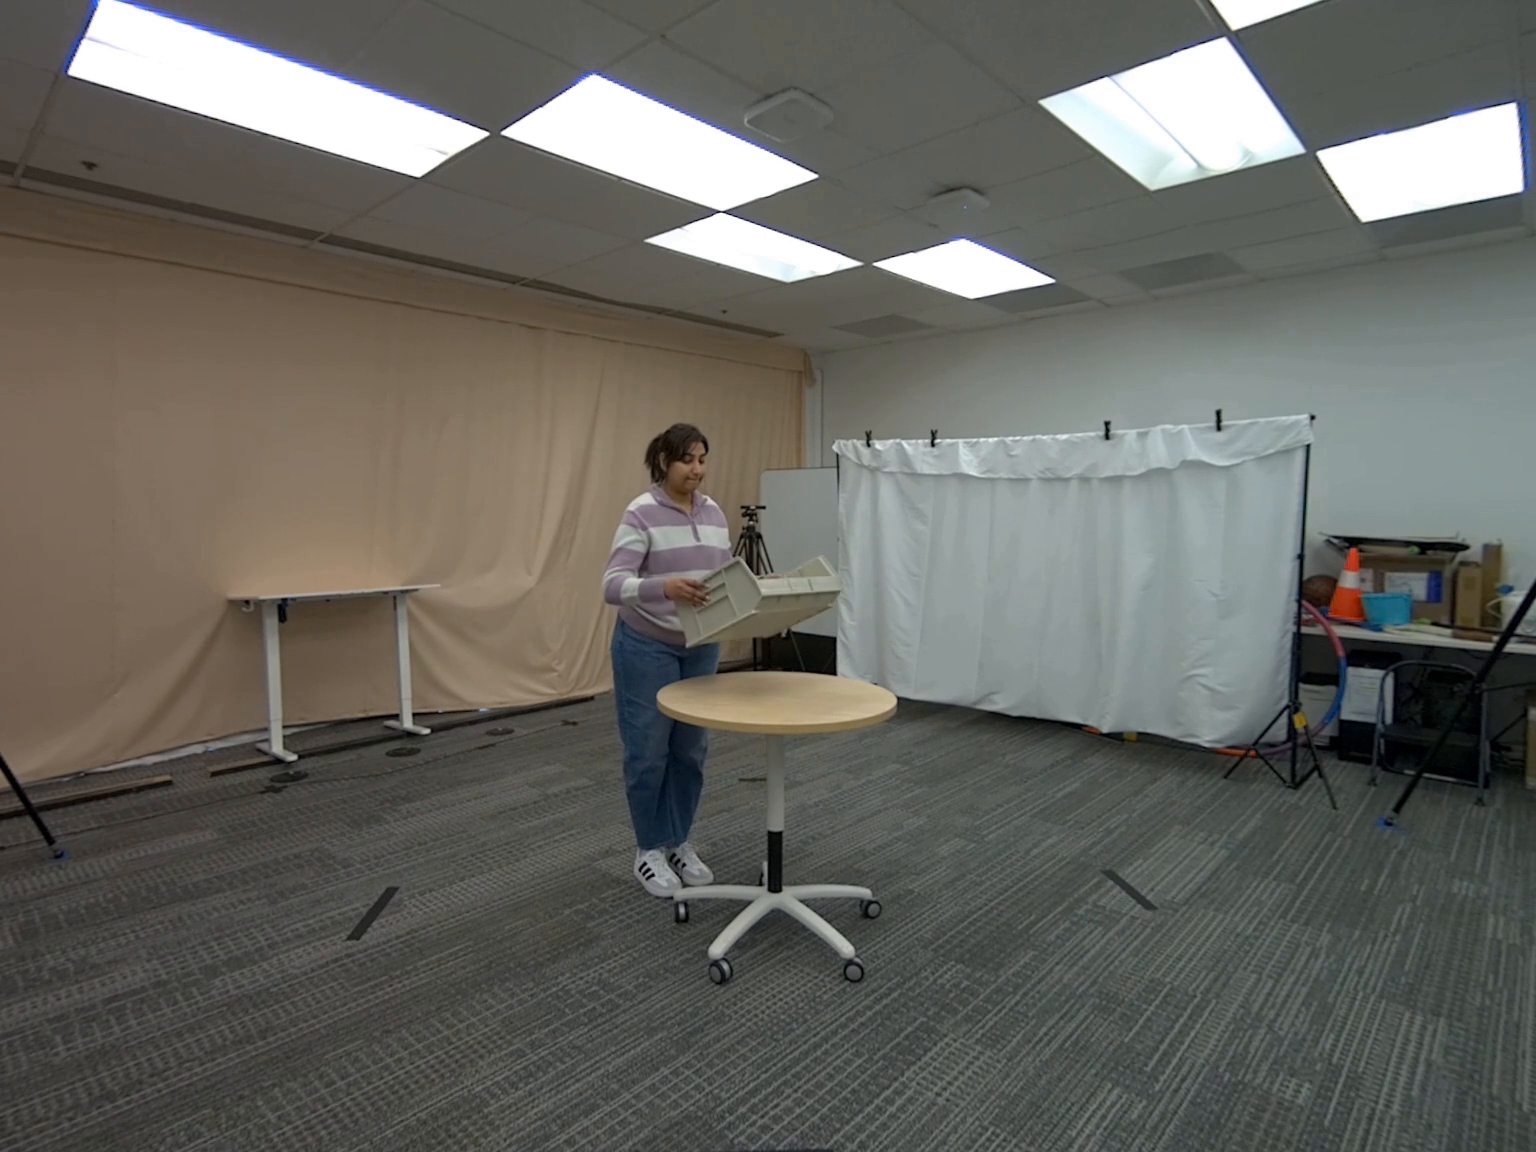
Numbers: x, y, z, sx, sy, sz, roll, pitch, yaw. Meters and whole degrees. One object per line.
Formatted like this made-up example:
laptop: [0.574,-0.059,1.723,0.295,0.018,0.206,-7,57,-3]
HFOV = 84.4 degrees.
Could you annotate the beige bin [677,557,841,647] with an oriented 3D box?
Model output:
beige bin: [-0.028,0.084,2.739,0.384,0.191,0.409,-30,-17,39]
